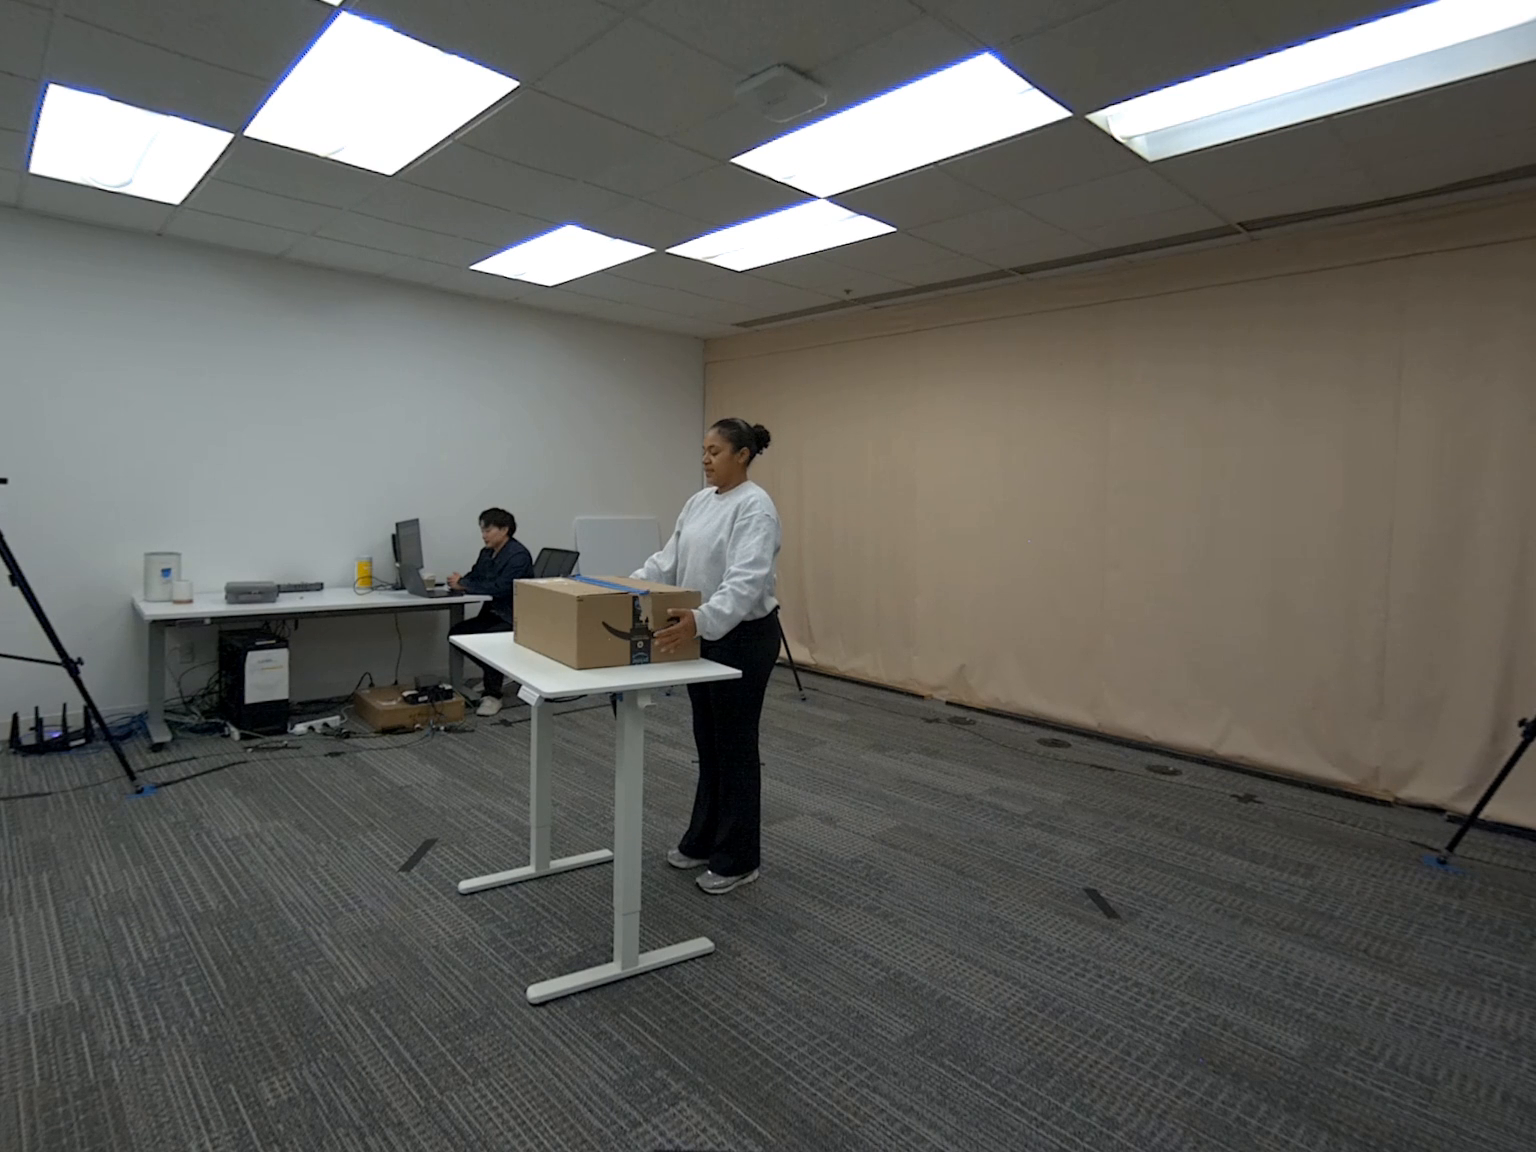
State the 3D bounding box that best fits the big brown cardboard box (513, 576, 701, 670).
[{"bbox_3d":[-0.557,0.138,2.760,0.408,0.232,0.603,-1,6,-34],"label":"big brown cardboard box"}]
